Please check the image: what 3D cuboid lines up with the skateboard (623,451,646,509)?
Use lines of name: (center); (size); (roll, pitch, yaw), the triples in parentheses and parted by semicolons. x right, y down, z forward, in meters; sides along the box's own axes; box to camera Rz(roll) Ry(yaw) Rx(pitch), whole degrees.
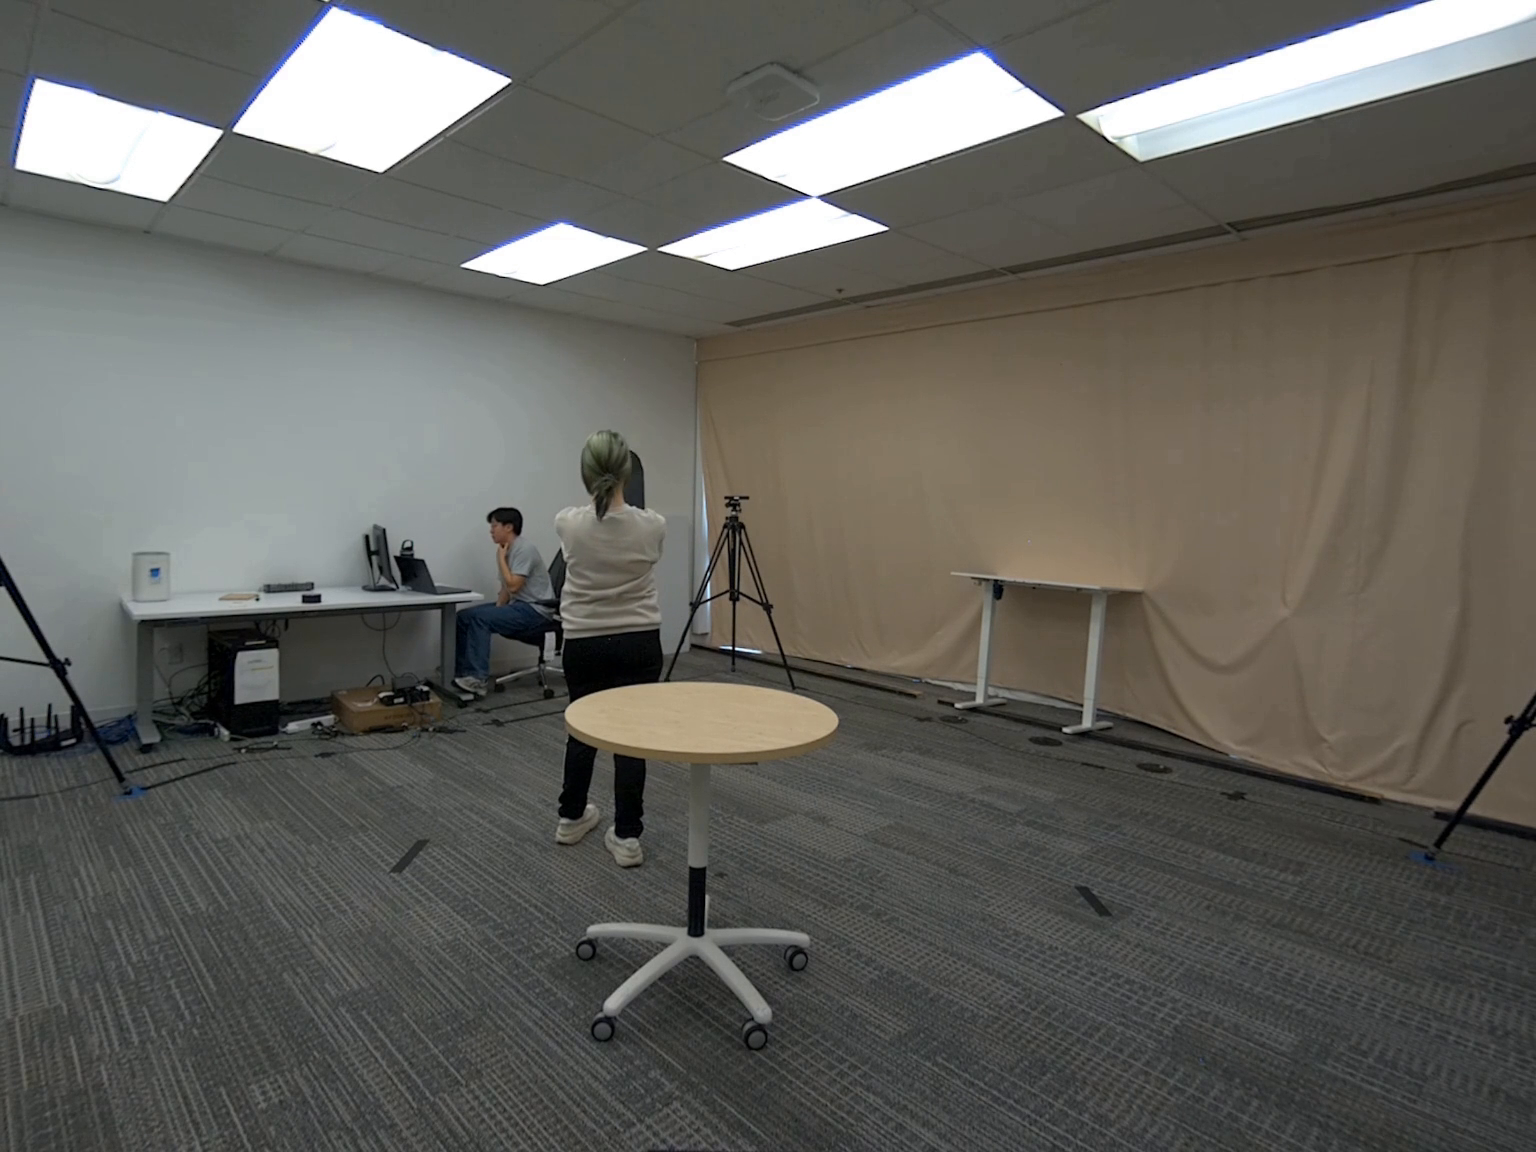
skateboard: (-0.655, -0.174, 3.734); (0.192, 0.792, 0.110); (-1, -11, -11)
